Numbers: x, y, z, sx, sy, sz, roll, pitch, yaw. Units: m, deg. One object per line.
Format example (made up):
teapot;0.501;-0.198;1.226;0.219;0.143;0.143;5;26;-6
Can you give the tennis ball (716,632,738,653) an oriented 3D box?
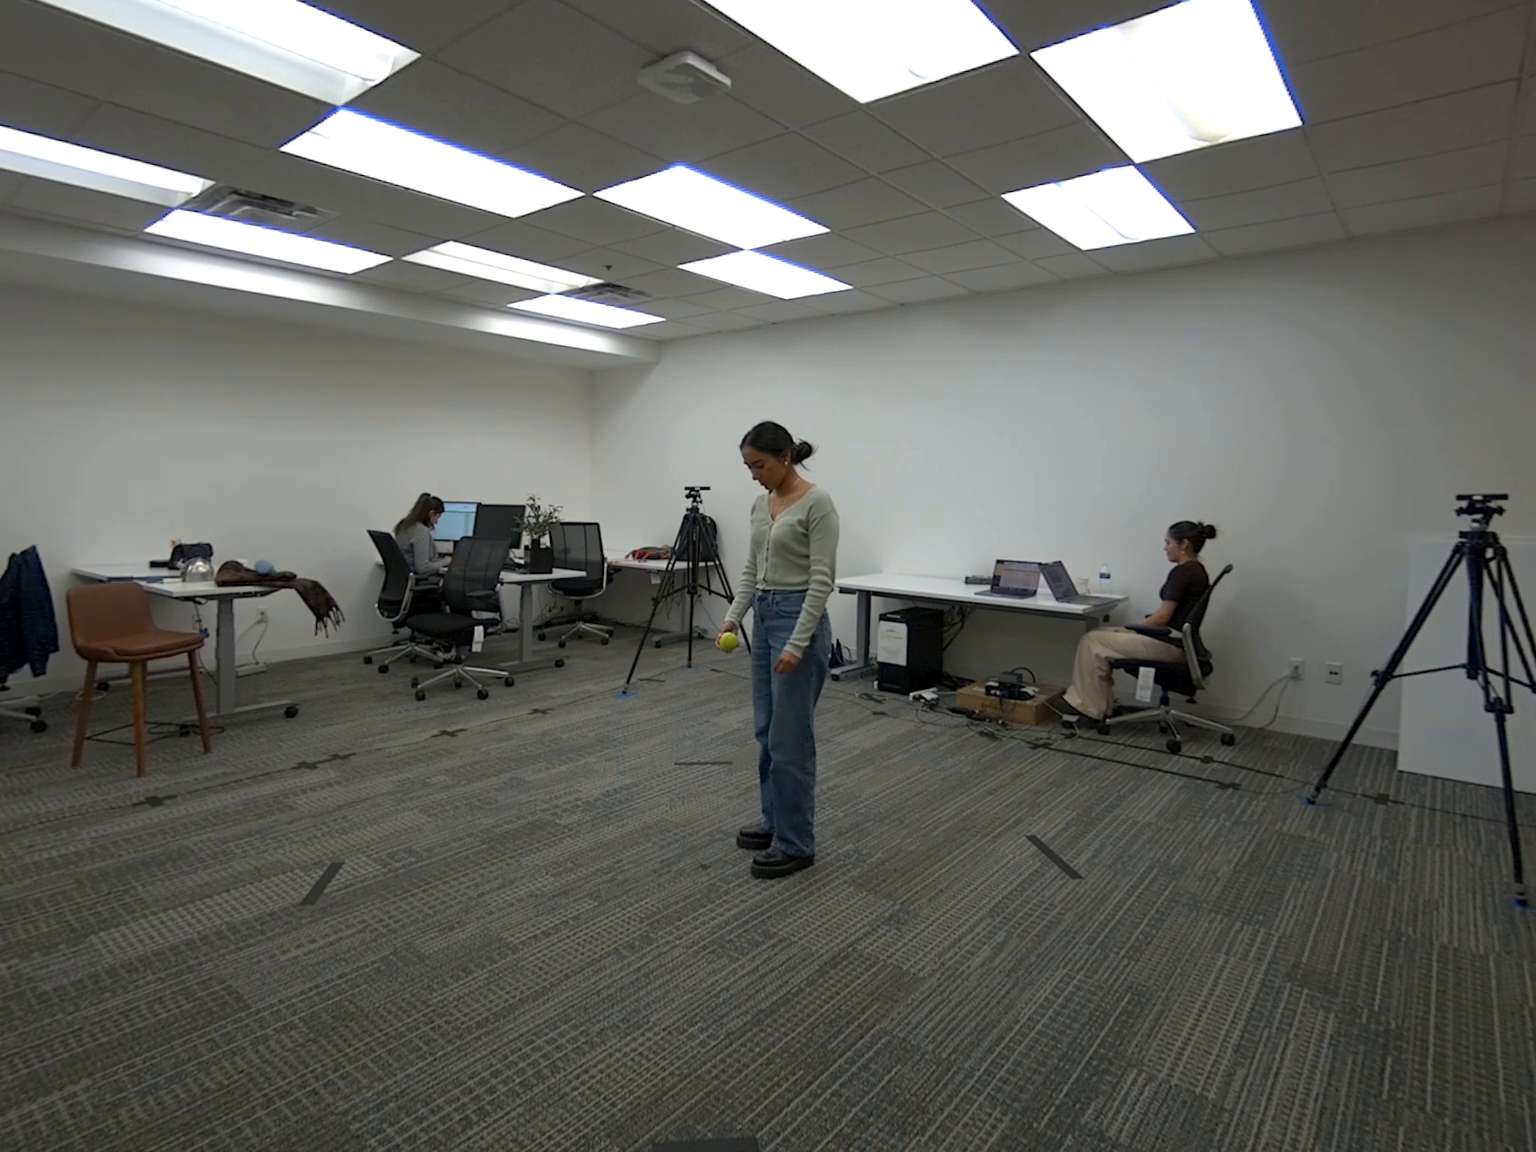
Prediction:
tennis ball;-0.138;0.231;3.124;0.066;0.066;0.067;1;4;-2
